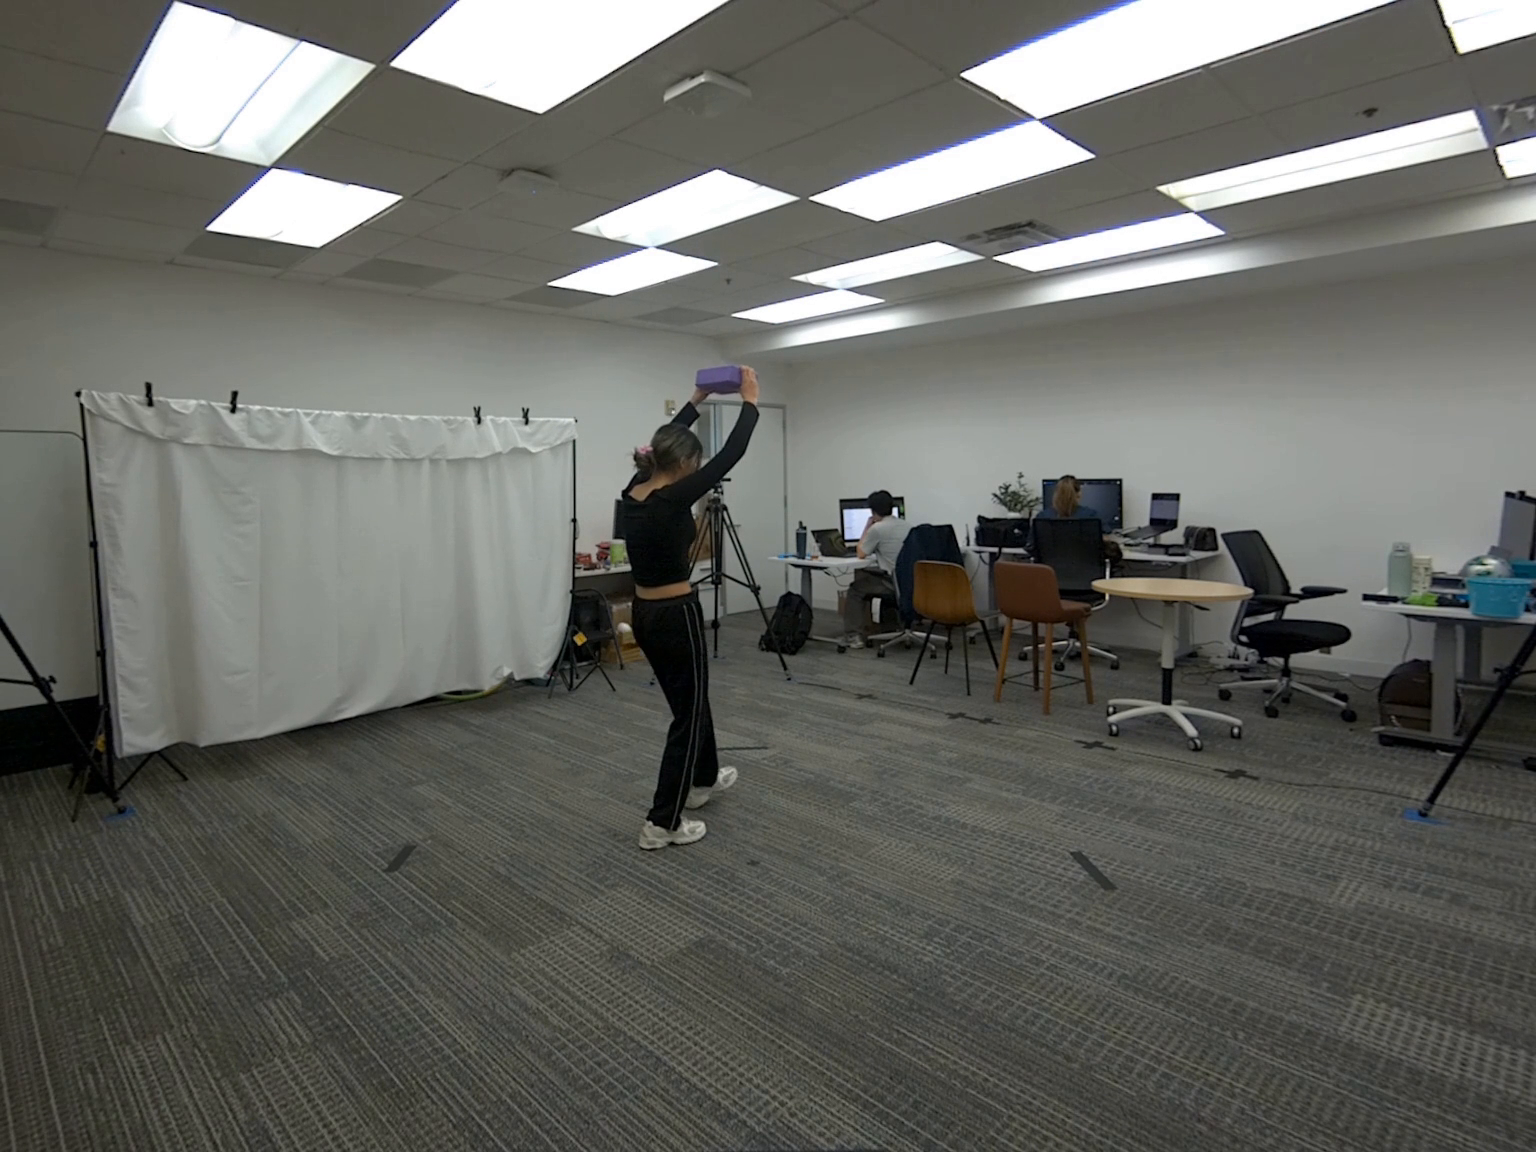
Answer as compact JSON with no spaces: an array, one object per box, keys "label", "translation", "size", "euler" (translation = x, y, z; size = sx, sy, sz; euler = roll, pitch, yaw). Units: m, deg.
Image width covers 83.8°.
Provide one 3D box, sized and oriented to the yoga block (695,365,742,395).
[{"label":"yoga block","translation":[-0.173,-0.798,3.473],"size":[0.144,0.076,0.237],"euler":[9,-1,-43]}]
